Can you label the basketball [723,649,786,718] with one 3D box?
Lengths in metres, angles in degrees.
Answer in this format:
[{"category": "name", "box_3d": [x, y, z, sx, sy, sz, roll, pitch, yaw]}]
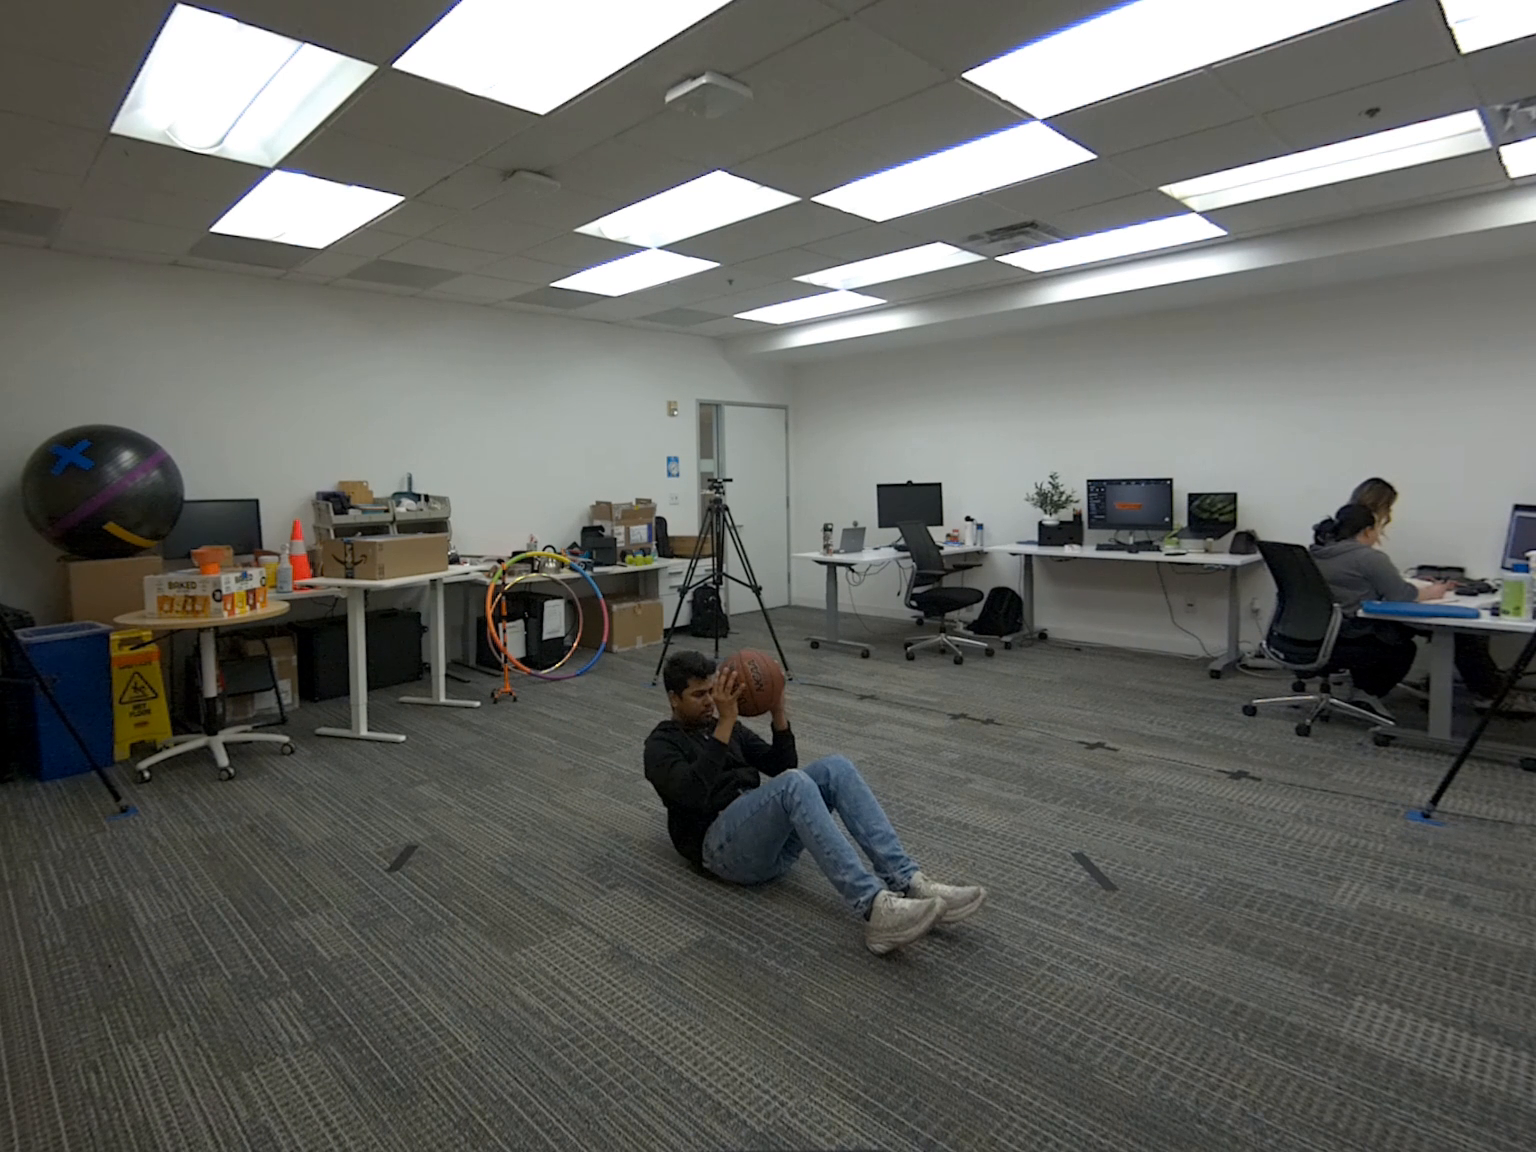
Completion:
[{"category": "basketball", "box_3d": [-0.074, 0.383, 3.053, 0.236, 0.235, 0.237, -1, 5, -2]}]
